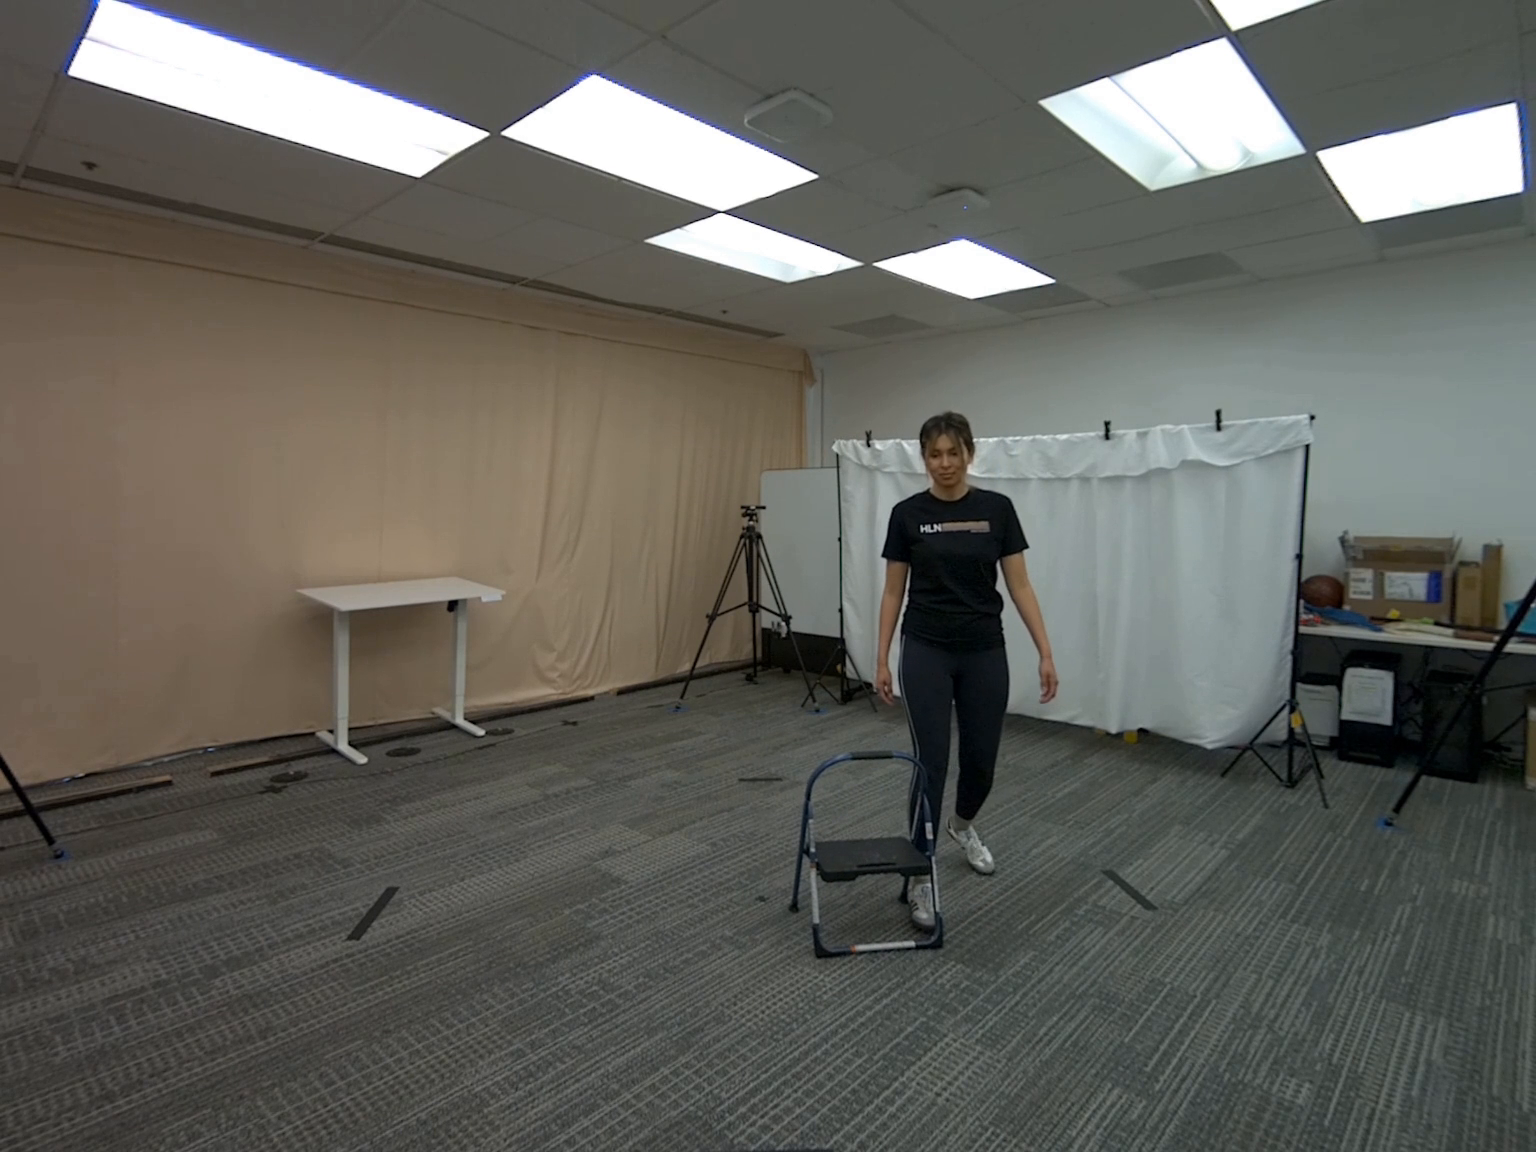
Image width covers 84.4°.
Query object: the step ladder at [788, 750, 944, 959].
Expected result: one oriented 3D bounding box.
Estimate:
[{"bbox_3d":[0.316,0.856,2.764,0.426,0.605,0.354,-1,3,-10],"label":"step ladder"}]
